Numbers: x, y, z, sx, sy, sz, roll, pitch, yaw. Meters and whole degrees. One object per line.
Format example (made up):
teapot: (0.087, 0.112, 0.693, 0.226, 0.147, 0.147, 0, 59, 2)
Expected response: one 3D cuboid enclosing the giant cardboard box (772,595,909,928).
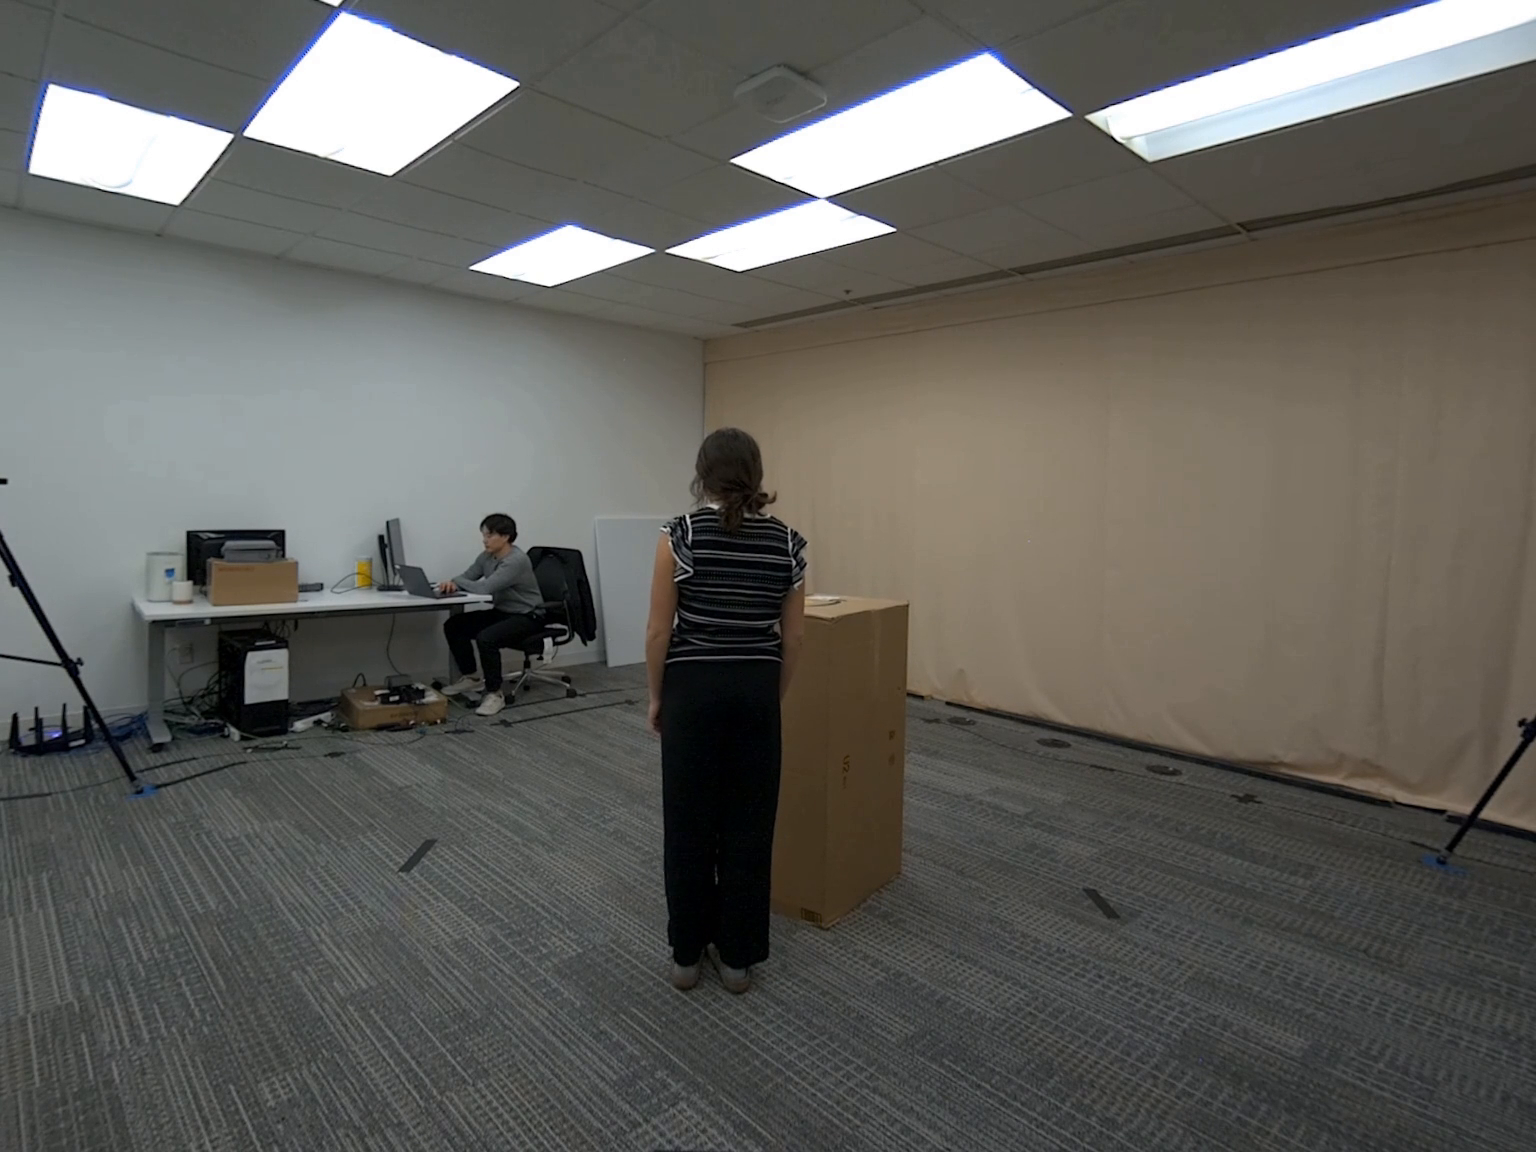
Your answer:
giant cardboard box: (0.178, 0.611, 3.047, 0.436, 1.023, 0.565, 3, 4, 35)
